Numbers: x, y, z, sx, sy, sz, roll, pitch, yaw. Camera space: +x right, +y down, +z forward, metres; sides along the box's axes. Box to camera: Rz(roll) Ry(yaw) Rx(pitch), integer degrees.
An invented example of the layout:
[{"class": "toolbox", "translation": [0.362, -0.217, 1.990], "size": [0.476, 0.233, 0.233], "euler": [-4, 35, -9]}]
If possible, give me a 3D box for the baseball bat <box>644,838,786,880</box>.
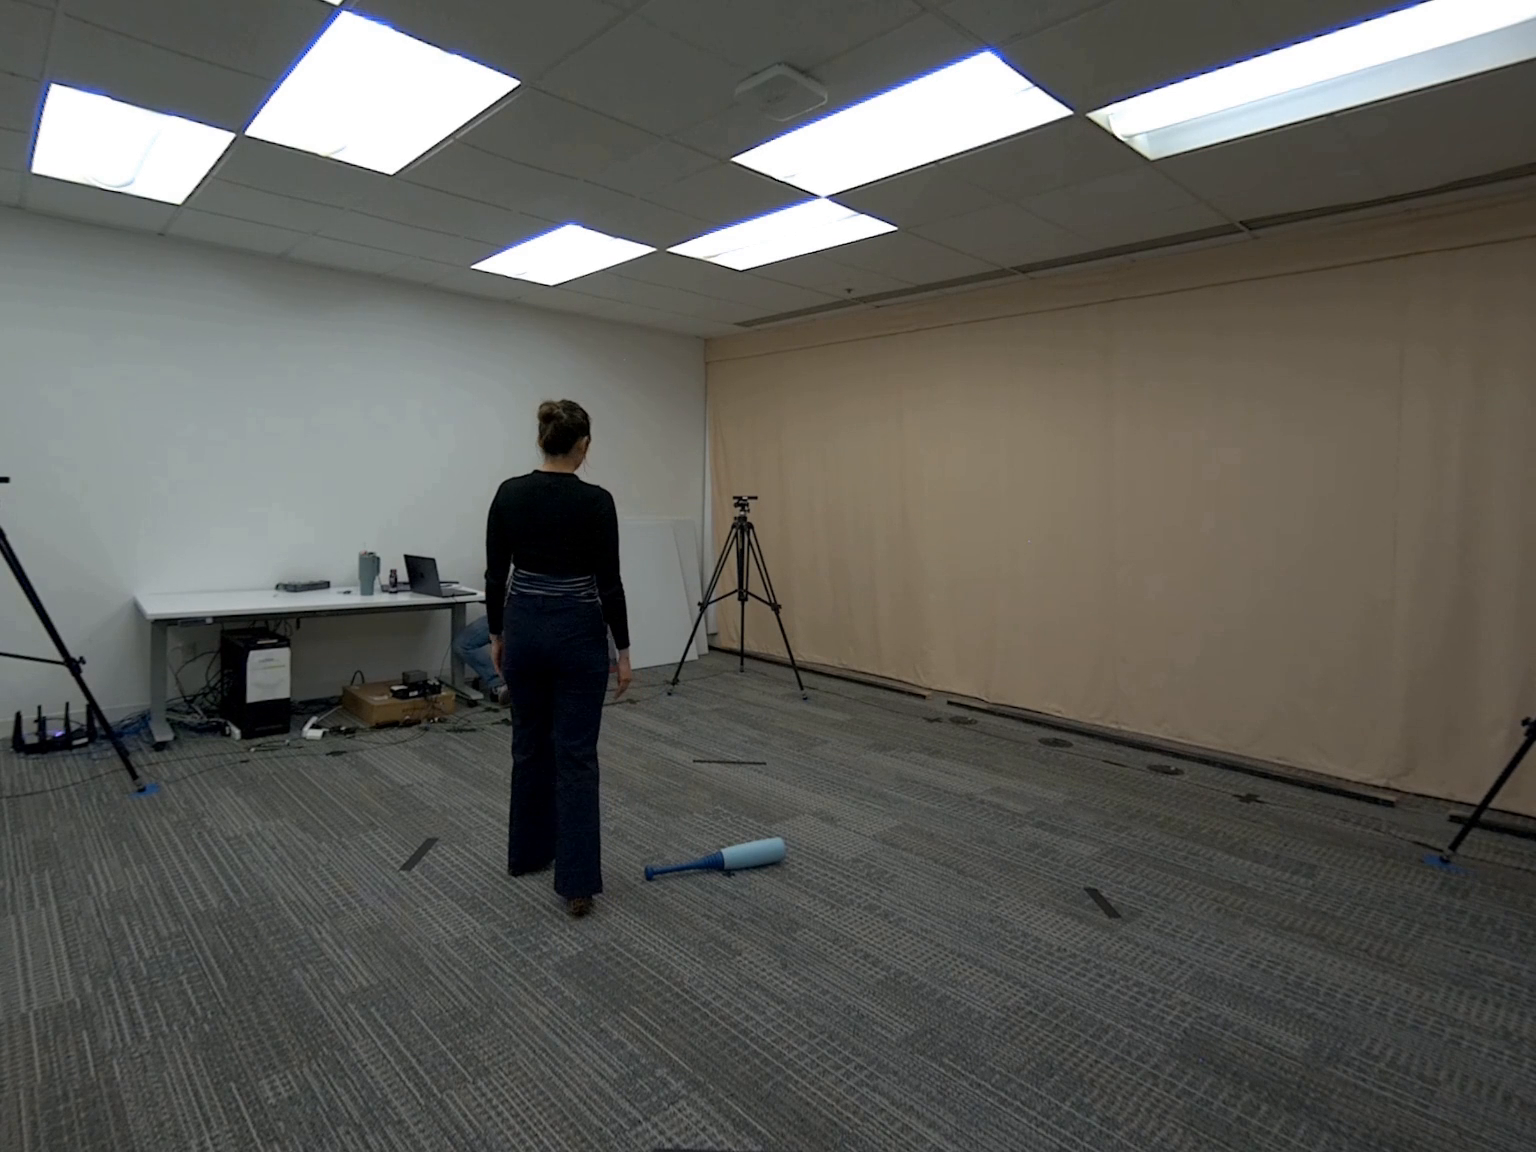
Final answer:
[{"class": "baseball bat", "translation": [-0.200, 1.064, 3.132], "size": [0.536, 0.089, 0.090], "euler": [-5, 6, -18]}]
